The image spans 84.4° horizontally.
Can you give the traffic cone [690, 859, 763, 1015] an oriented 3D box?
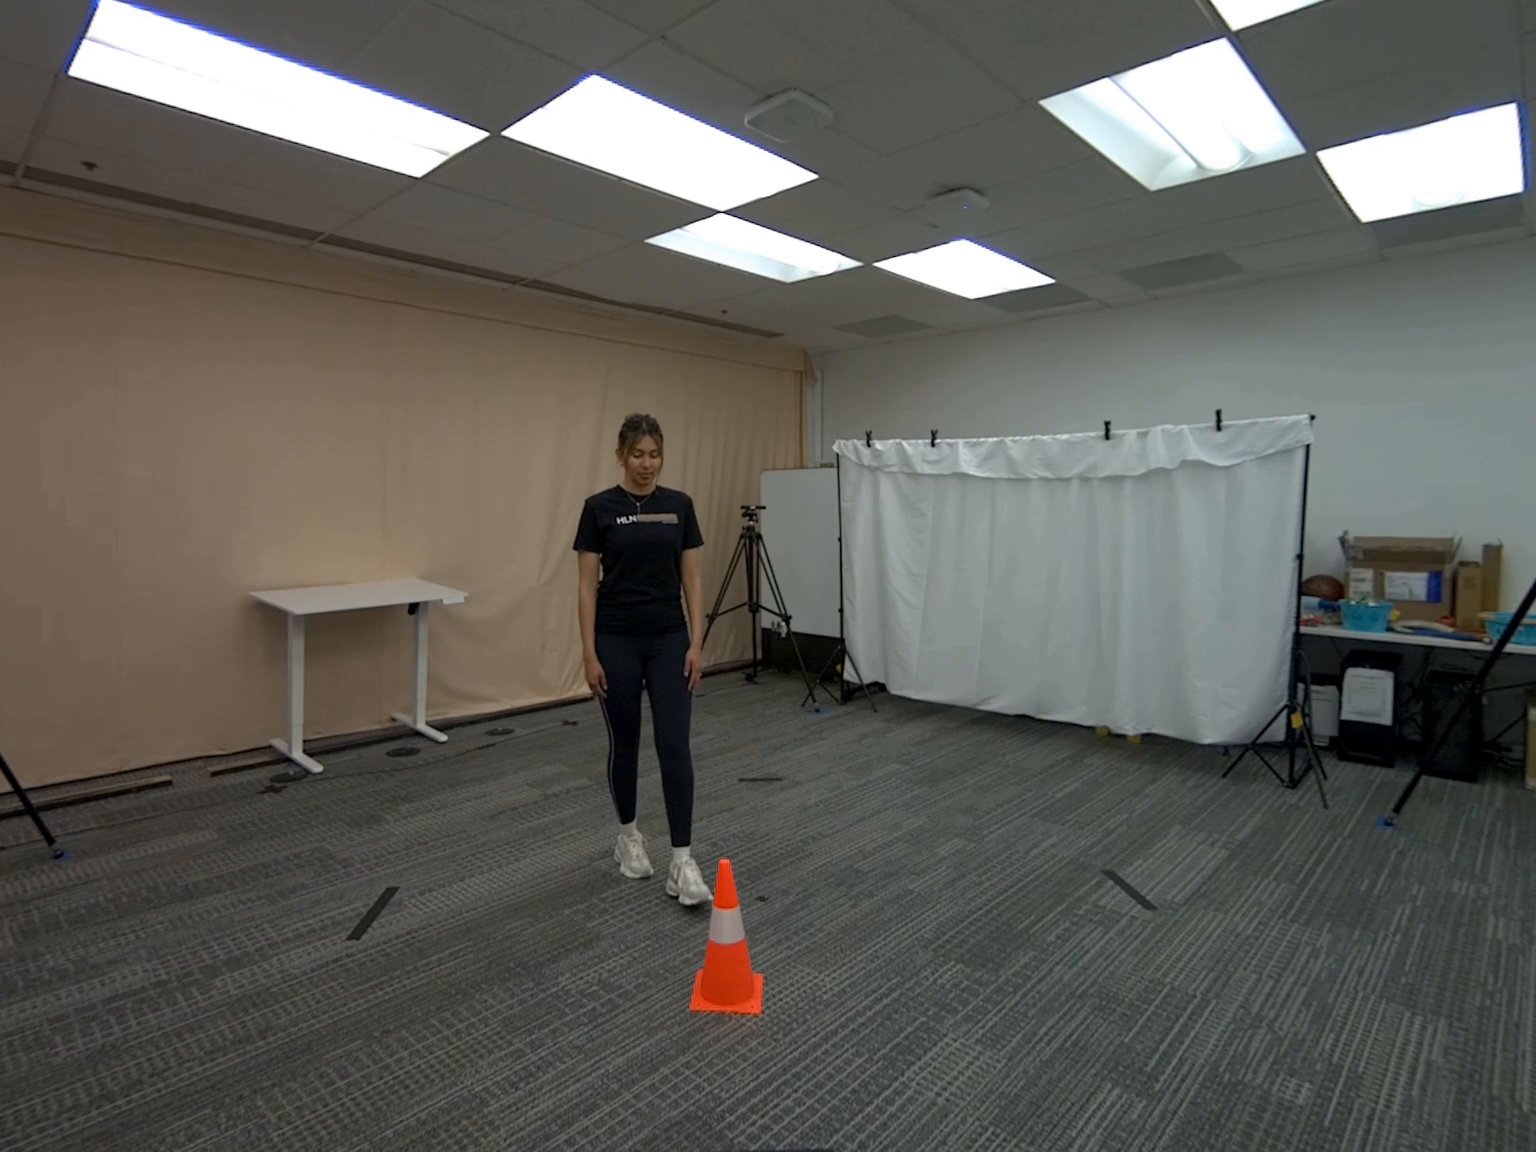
[{"bbox_3d":[-0.119,1.008,2.401,0.206,0.383,0.202,-1,1,5],"label":"traffic cone"}]
